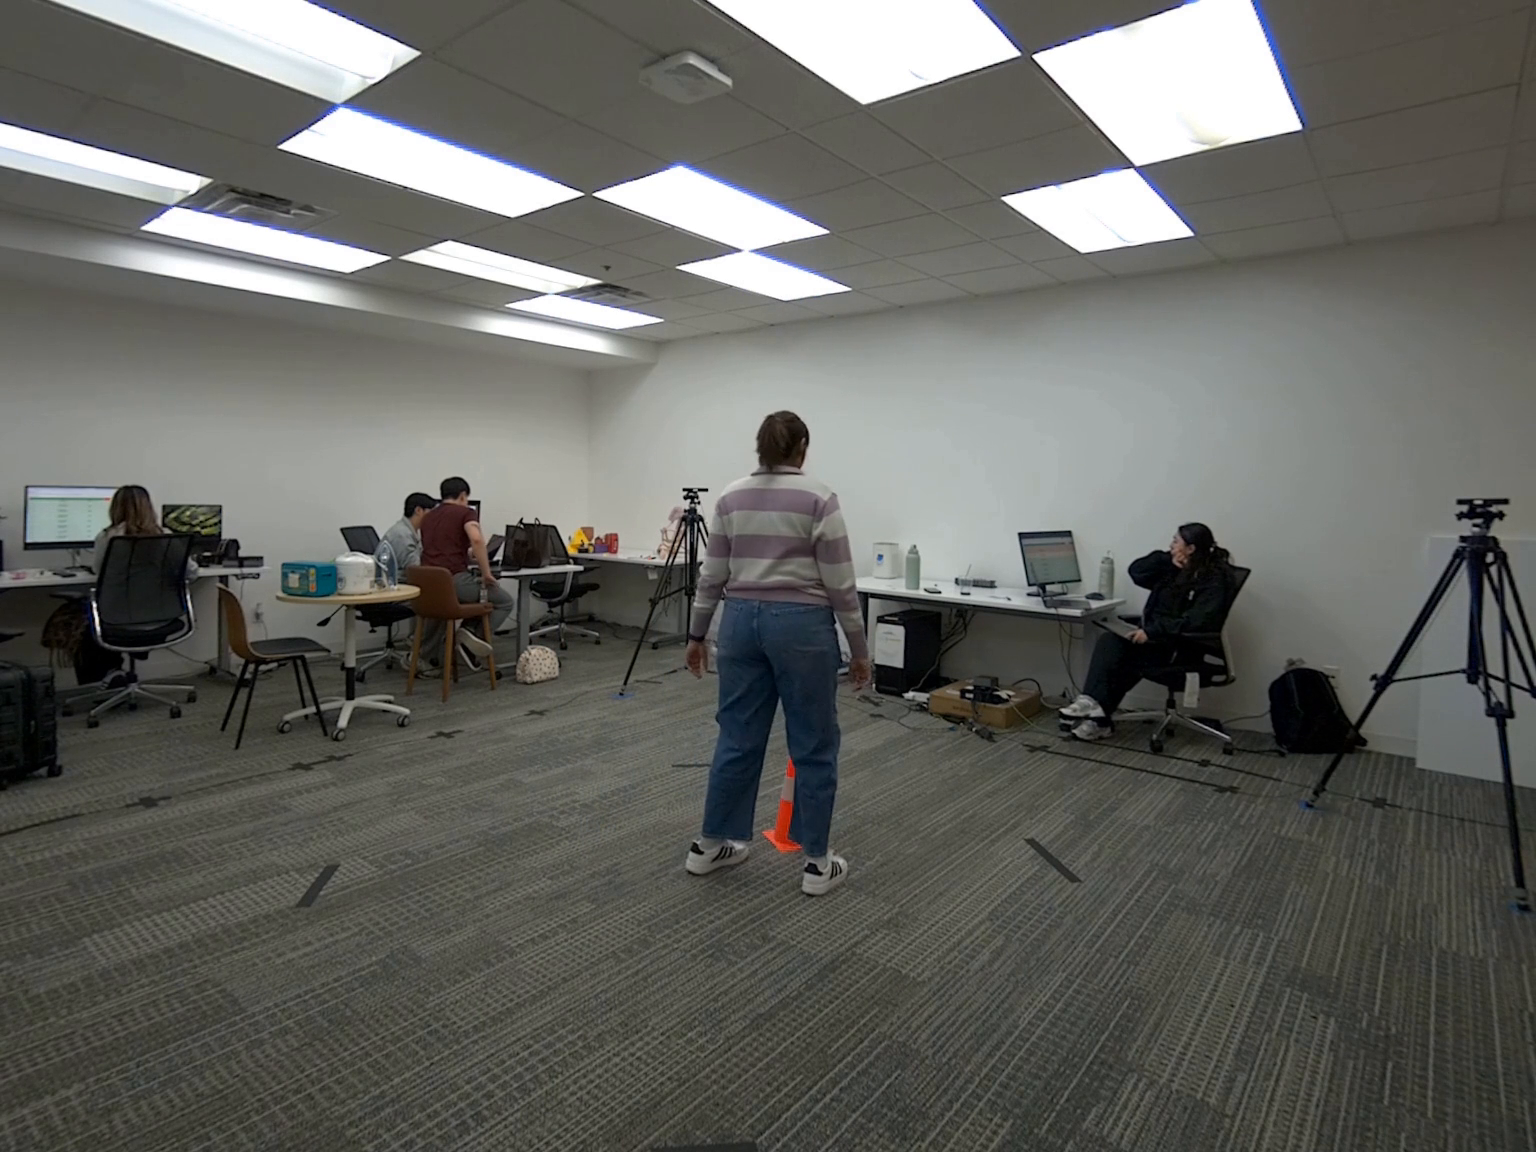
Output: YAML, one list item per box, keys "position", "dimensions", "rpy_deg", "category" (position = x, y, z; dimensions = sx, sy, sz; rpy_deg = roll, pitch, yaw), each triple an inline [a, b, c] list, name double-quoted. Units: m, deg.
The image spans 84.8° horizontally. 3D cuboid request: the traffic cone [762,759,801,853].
- position: [0.088, 0.858, 3.387]
  dimensions: [0.201, 0.383, 0.208]
  rpy_deg: [-2, 3, -21]
  category: "traffic cone"
